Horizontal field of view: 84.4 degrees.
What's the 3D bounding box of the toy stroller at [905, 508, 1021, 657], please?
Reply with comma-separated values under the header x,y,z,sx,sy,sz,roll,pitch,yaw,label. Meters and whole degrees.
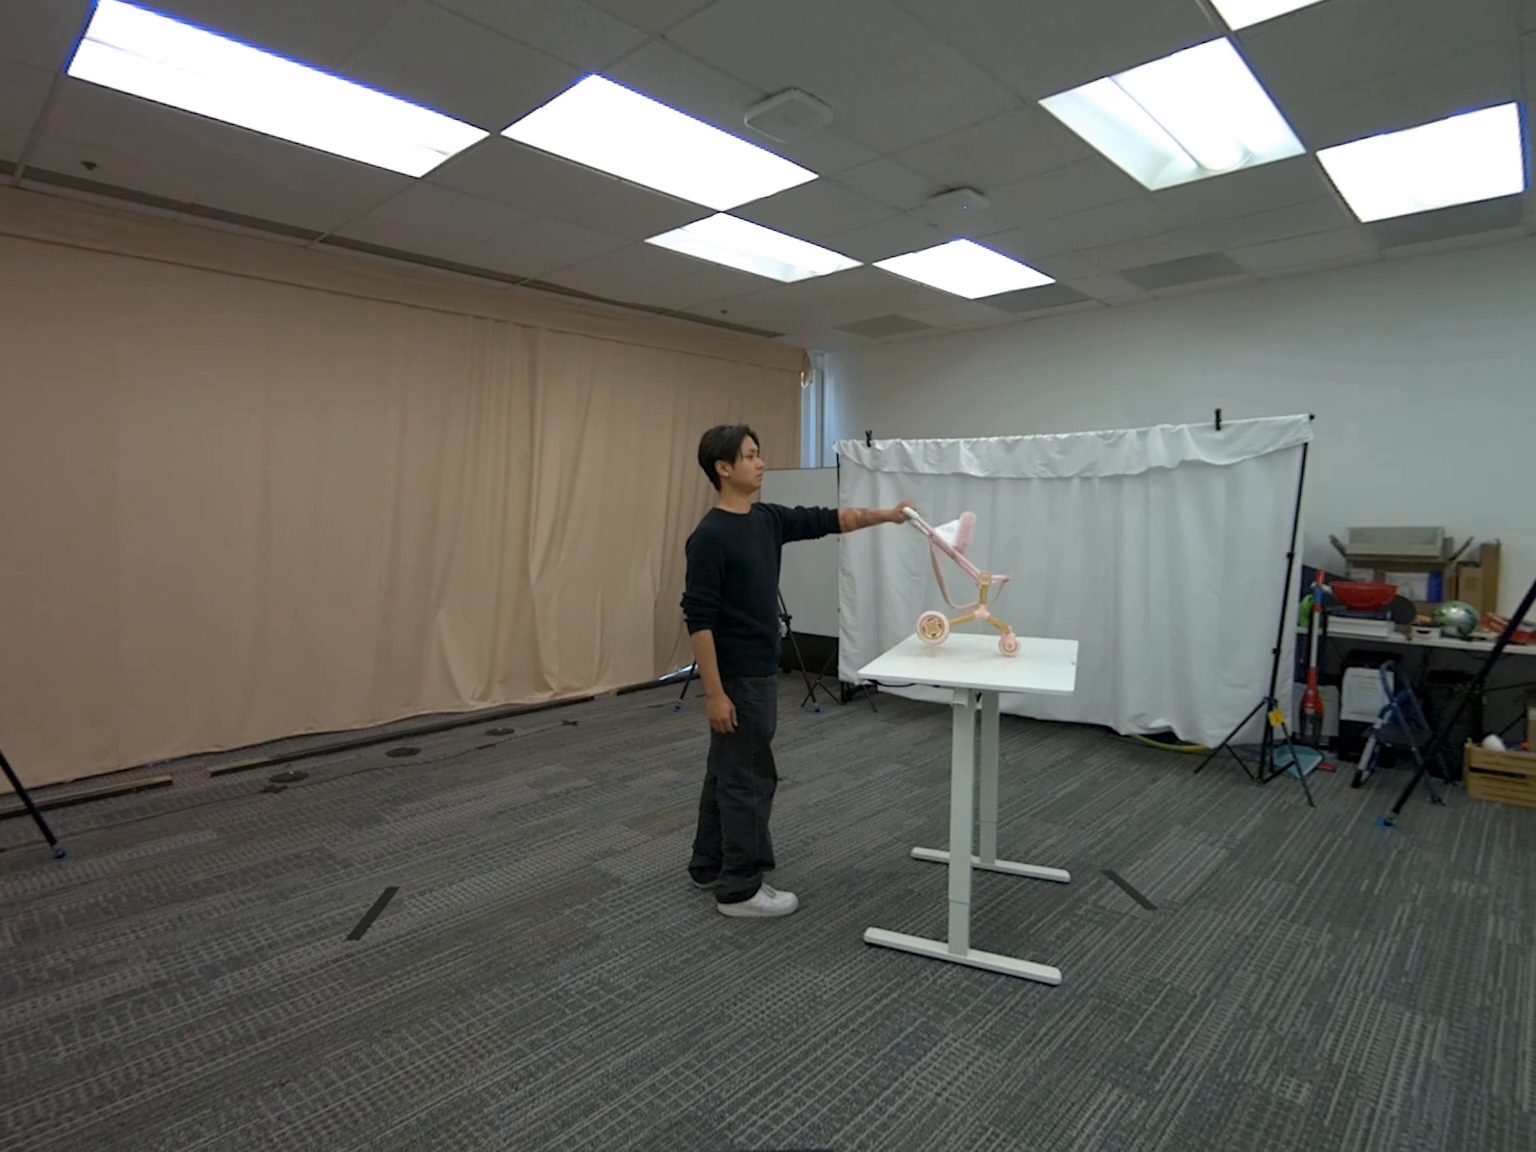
x,y,z,sx,sy,sz,roll,pitch,yaw,label
0.674,0.019,2.892,0.348,0.538,0.274,-6,-9,19,toy stroller
